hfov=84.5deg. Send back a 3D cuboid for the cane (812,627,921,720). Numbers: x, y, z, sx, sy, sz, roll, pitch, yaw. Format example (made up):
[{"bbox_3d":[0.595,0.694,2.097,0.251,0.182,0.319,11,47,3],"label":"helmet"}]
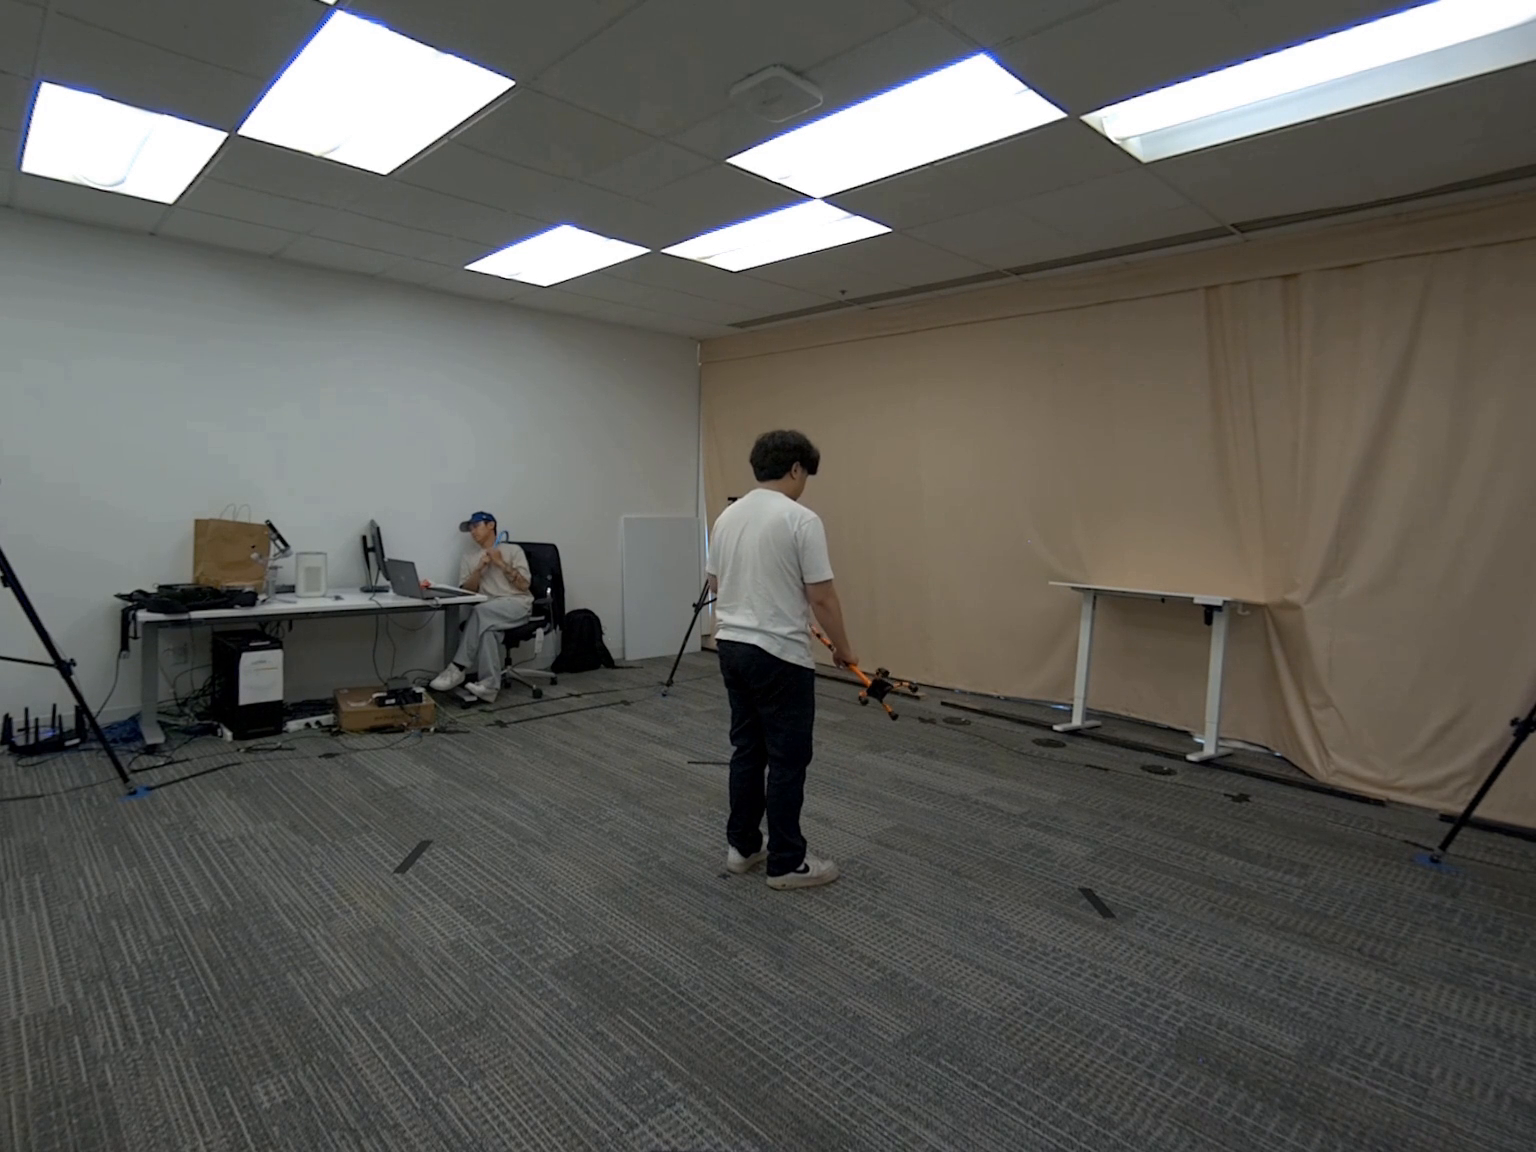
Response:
[{"bbox_3d":[0.211,0.234,3.333,0.200,0.151,0.936,30,8,-37],"label":"cane"}]
